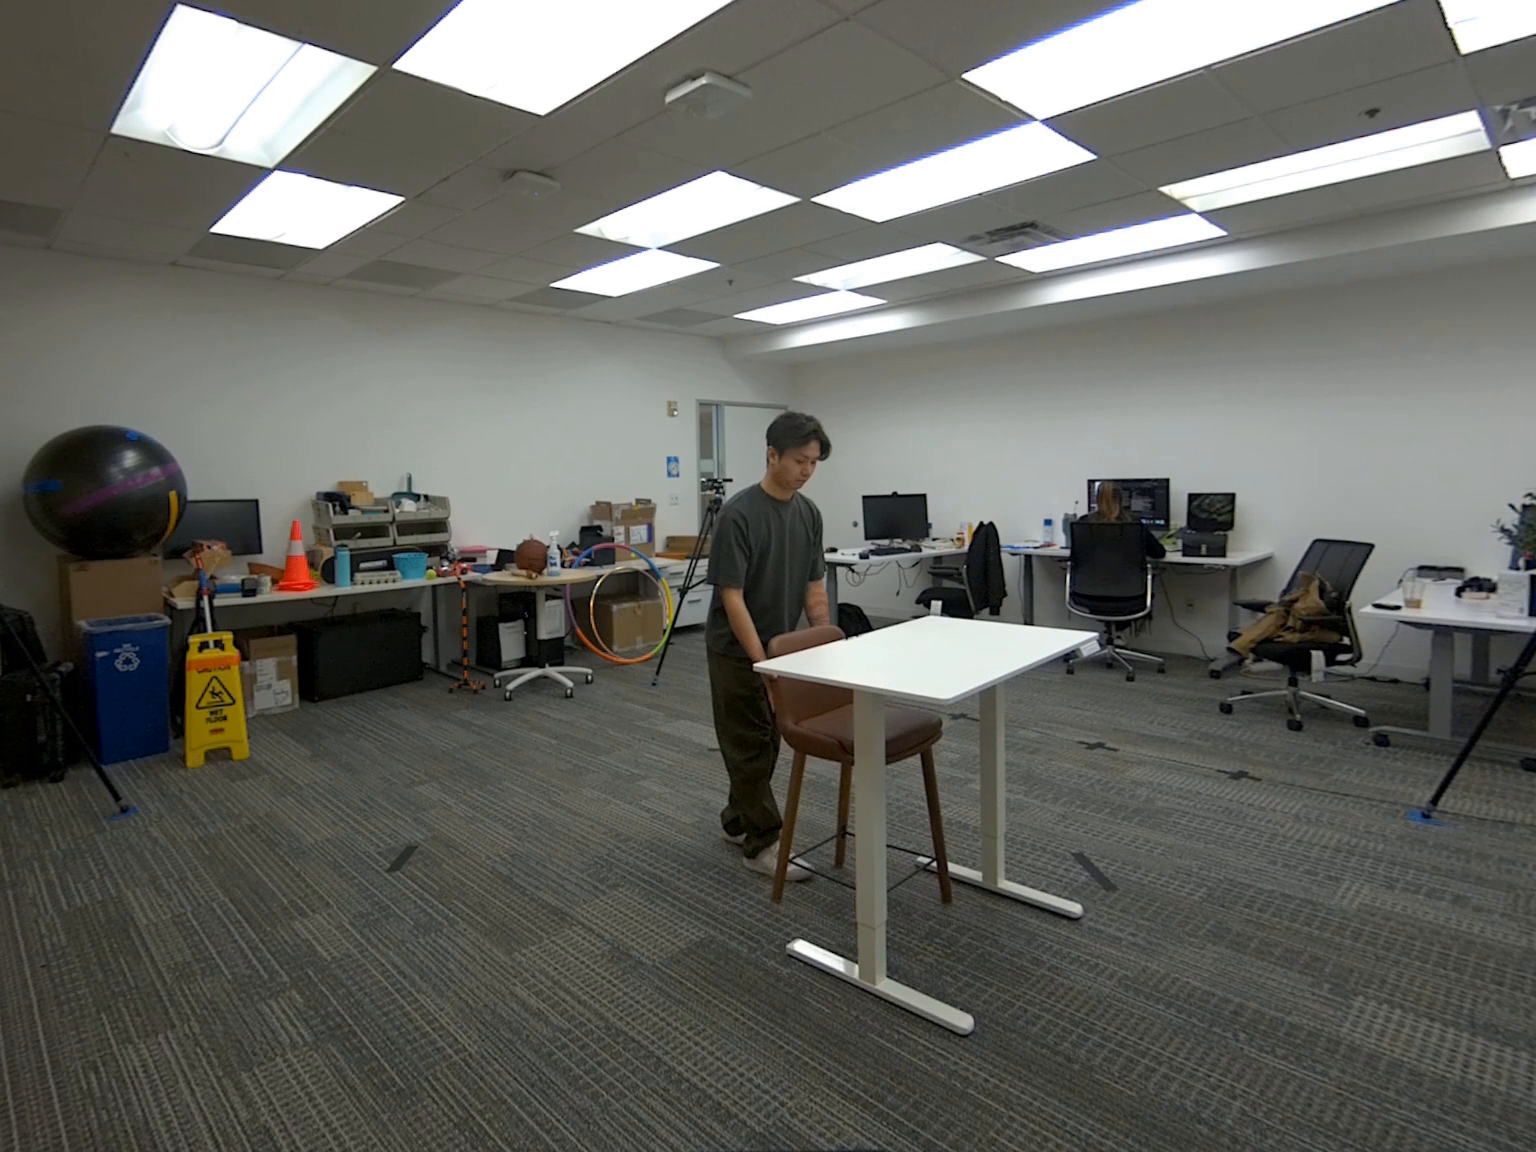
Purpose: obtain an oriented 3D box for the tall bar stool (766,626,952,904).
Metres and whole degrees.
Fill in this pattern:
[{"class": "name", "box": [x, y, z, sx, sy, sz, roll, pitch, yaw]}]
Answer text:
[{"class": "tall bar stool", "box": [0.289, 0.634, 2.787, 0.481, 0.888, 0.445, -1, 4, 44]}]
